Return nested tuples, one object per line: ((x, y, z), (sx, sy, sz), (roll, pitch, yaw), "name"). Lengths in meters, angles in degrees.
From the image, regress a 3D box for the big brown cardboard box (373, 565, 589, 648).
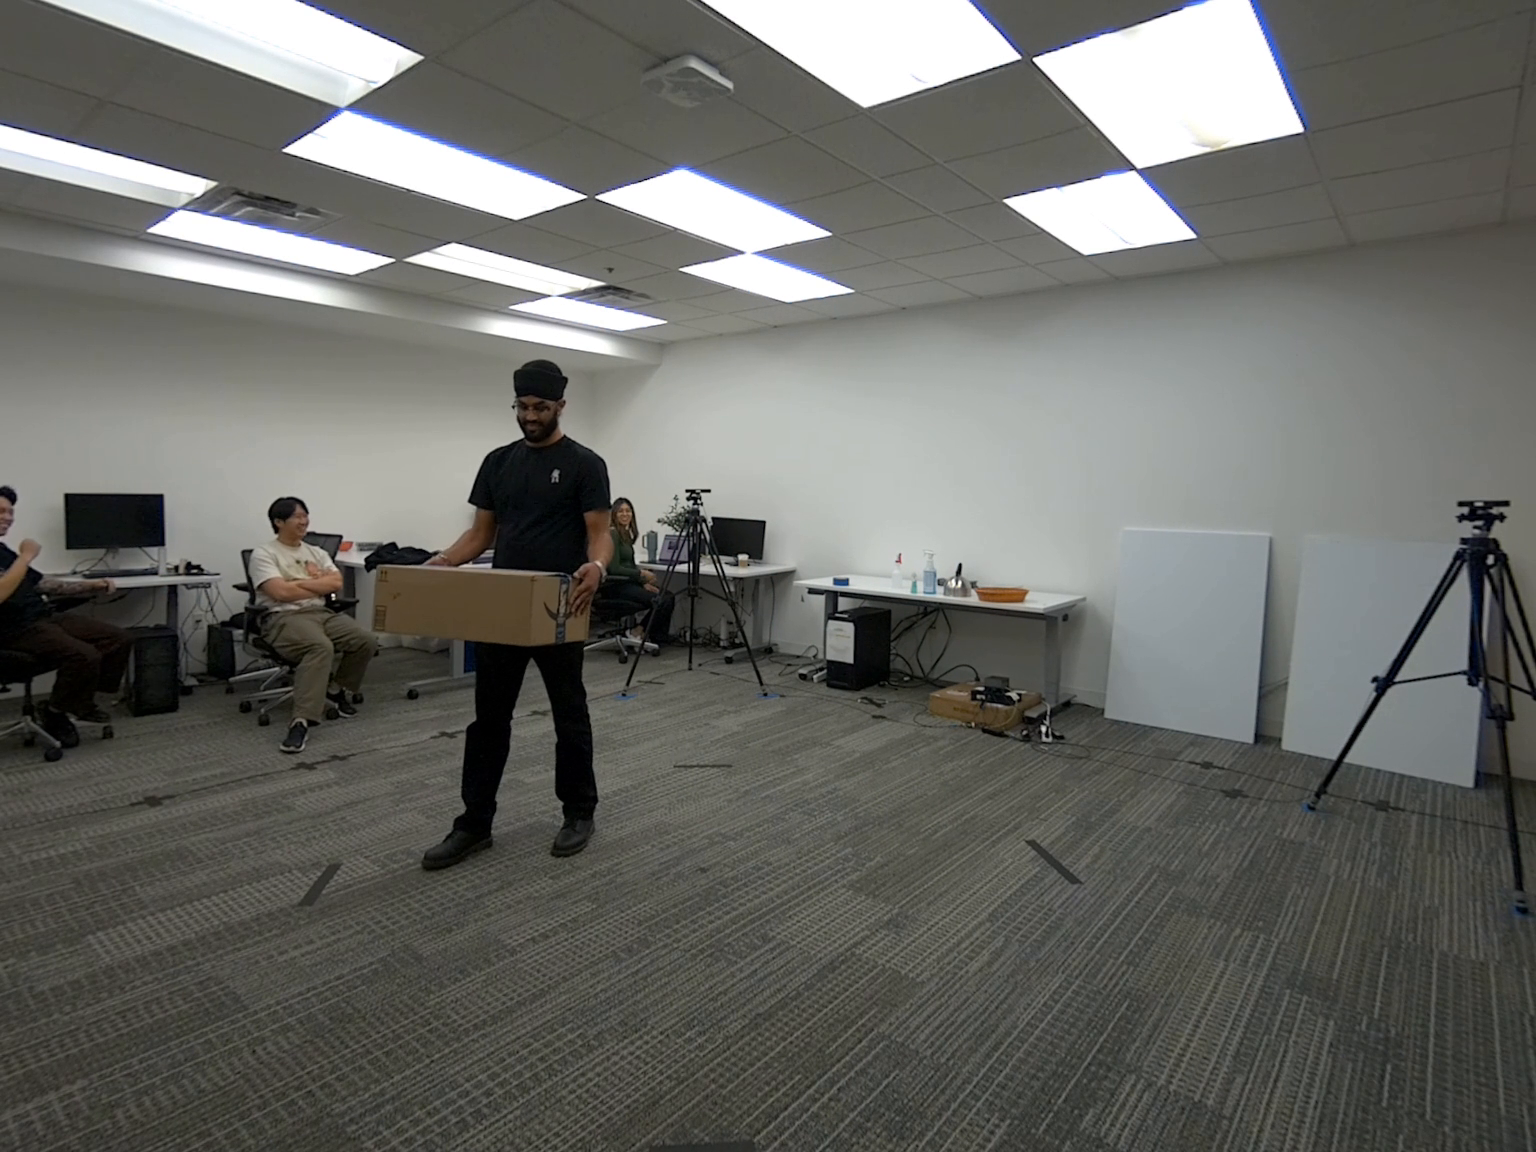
((-0.946, 0.086, 2.834), (0.600, 0.233, 0.410), (3, 0, 16), "big brown cardboard box")
